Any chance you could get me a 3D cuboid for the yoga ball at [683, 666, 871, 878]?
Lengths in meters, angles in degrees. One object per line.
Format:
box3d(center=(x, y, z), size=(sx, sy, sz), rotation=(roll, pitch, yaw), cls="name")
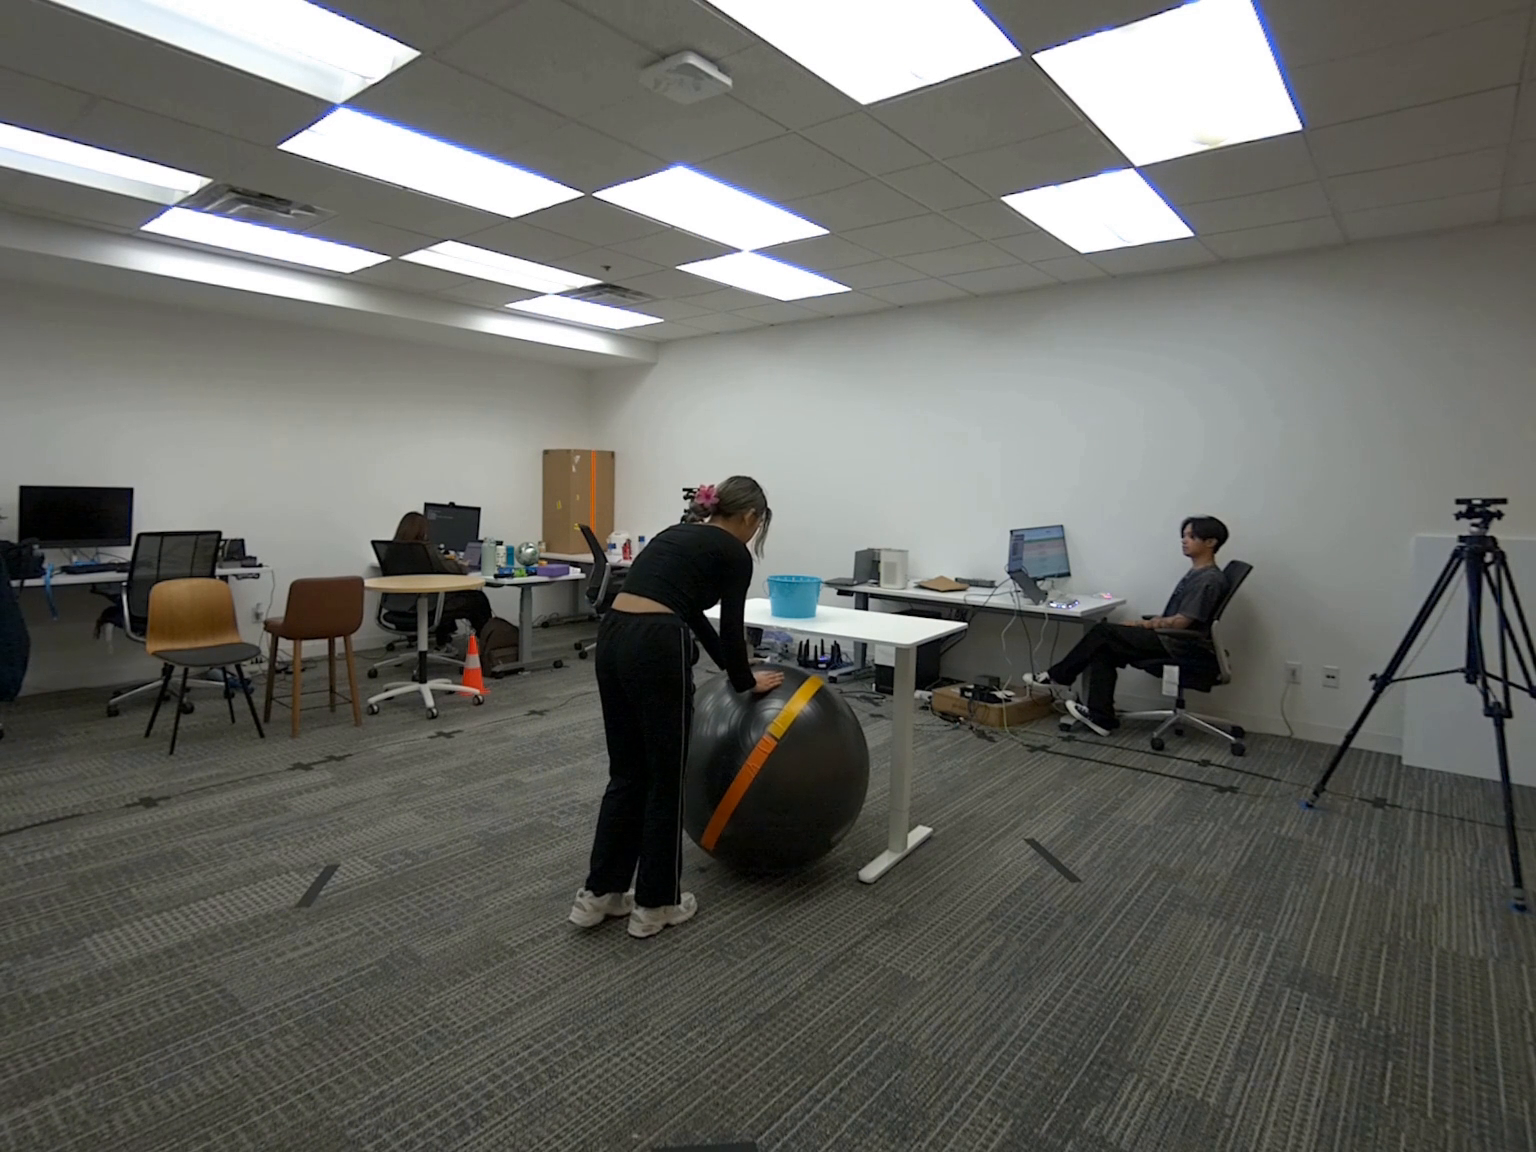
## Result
box3d(center=(-0.004, 0.699, 3.170), size=(0.757, 0.756, 0.761), rotation=(1, 4, -2), cls="yoga ball")
